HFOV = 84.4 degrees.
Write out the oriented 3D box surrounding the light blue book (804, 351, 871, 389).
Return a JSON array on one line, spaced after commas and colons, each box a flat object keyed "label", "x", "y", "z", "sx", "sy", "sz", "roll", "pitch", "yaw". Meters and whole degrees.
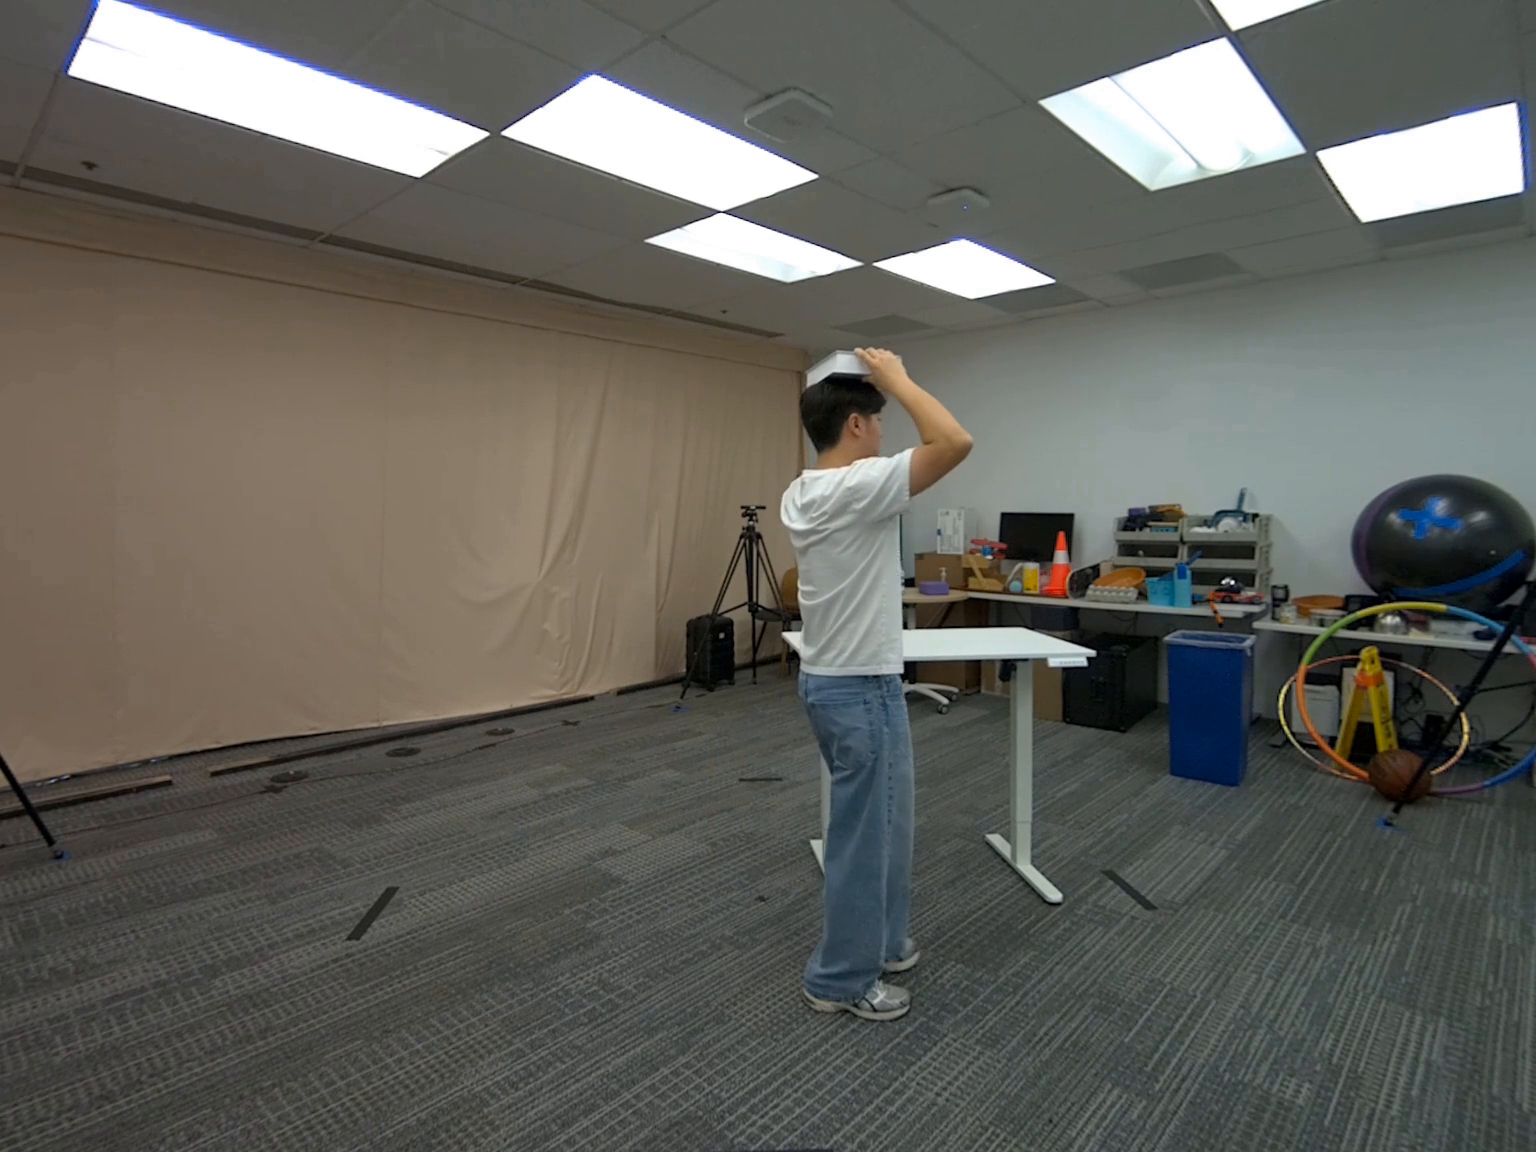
[{"label": "light blue book", "x": 0.230, "y": -0.562, "z": 2.351, "sx": 0.188, "sy": 0.059, "sz": 0.265, "roll": 3, "pitch": 1, "yaw": -15}]
